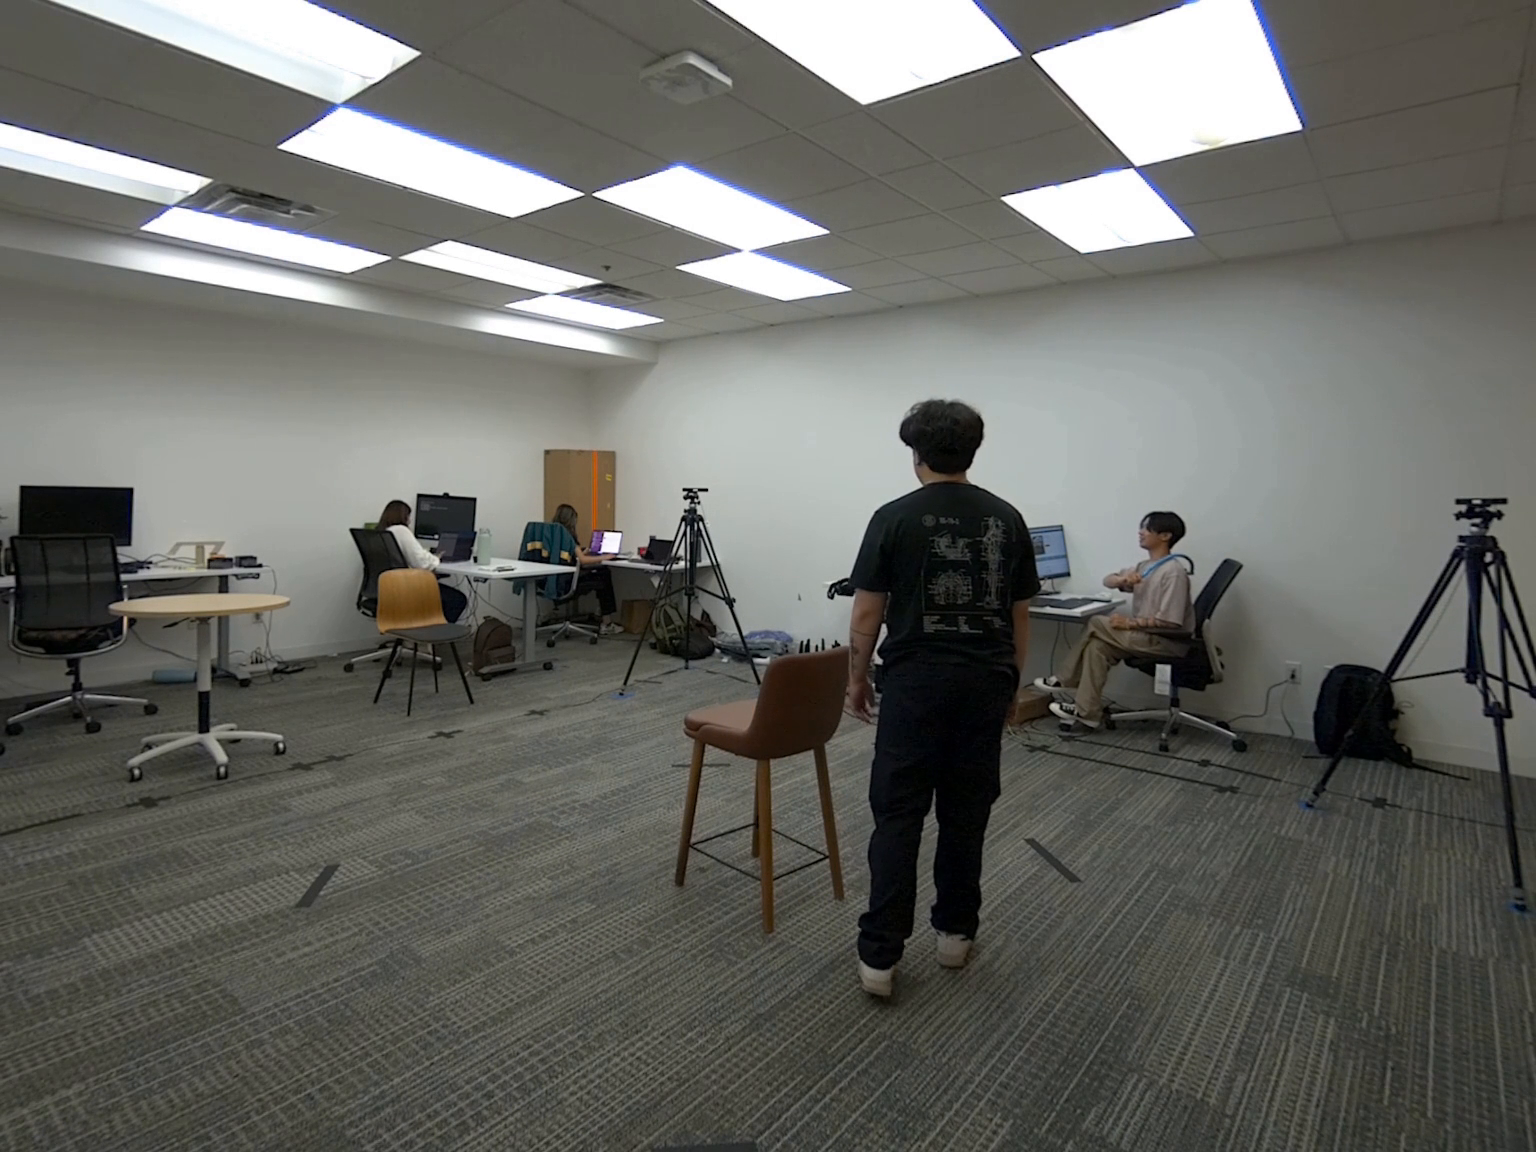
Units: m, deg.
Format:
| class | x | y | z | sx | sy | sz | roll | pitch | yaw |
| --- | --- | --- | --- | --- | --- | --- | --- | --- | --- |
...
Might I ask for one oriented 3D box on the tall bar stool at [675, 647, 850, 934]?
| class | x | y | z | sx | sy | sz | roll | pitch | yaw |
| --- | --- | --- | --- | --- | --- | --- | --- | --- | --- |
| tall bar stool | -0.019 | 0.656 | 2.924 | 0.442 | 0.886 | 0.484 | -1 | 6 | -44 |
